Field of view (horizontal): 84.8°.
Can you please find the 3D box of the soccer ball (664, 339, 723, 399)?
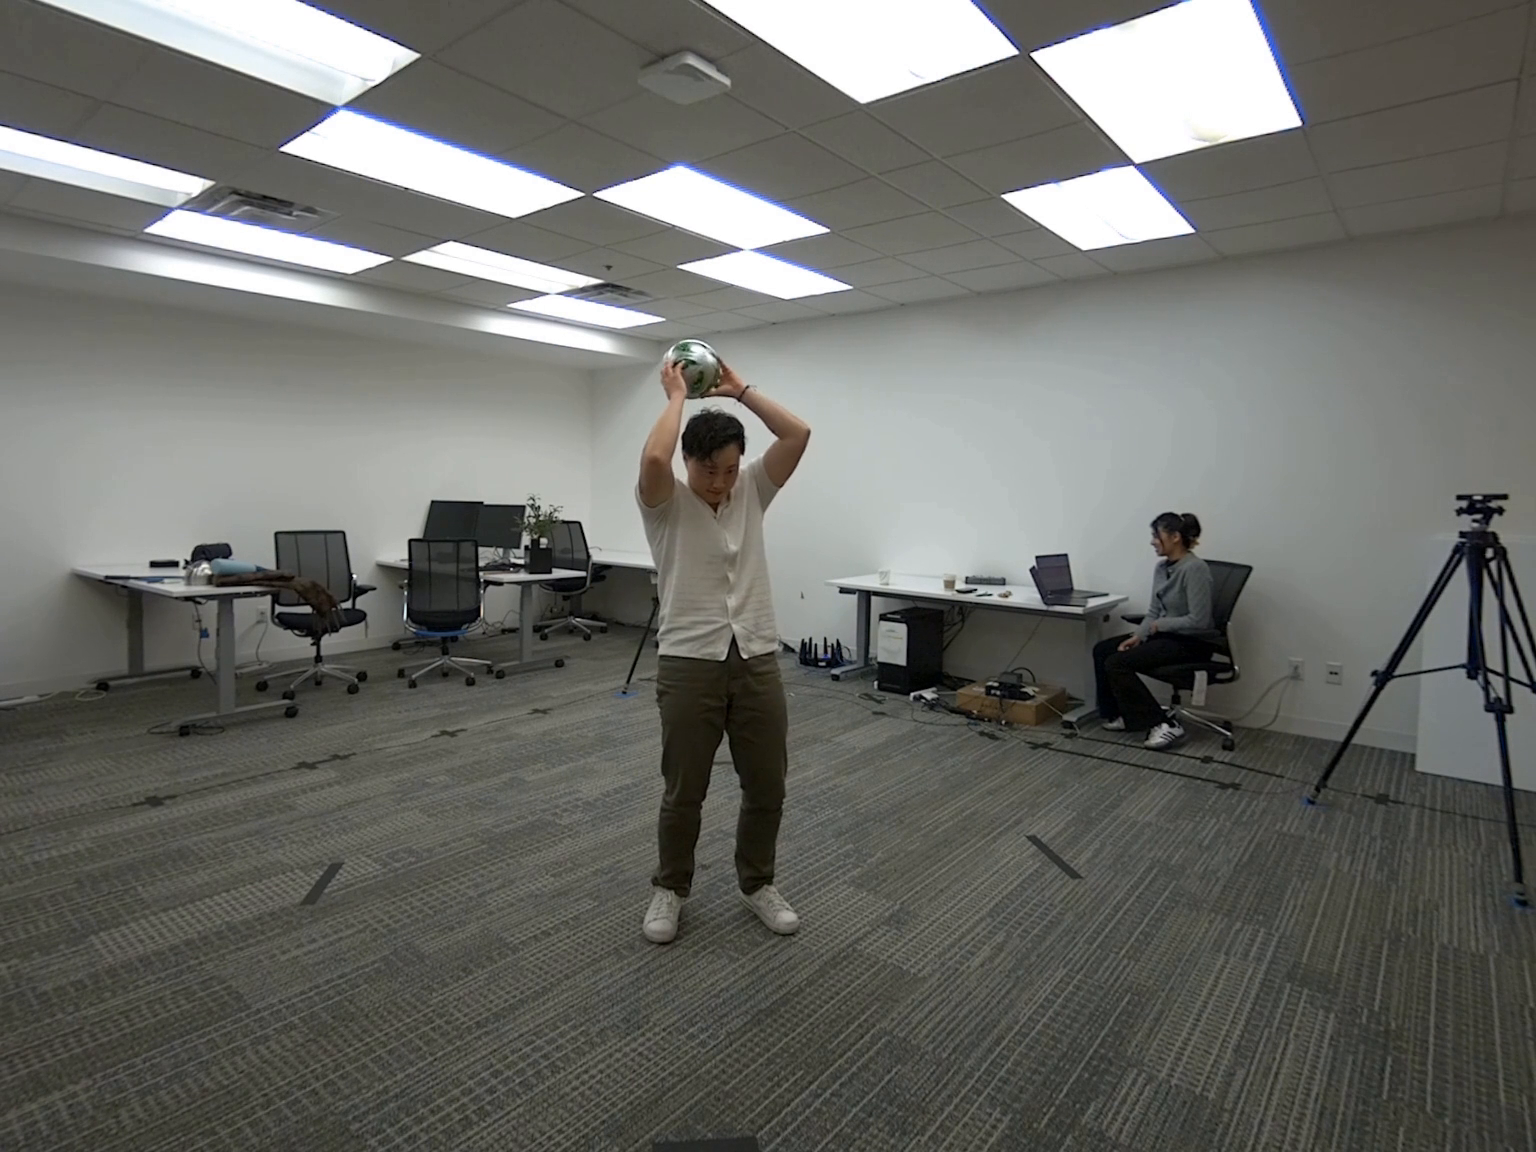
[{"bbox_3d":[-0.247,-0.649,2.701,0.187,0.187,0.188,1,4,-2],"label":"soccer ball"}]
